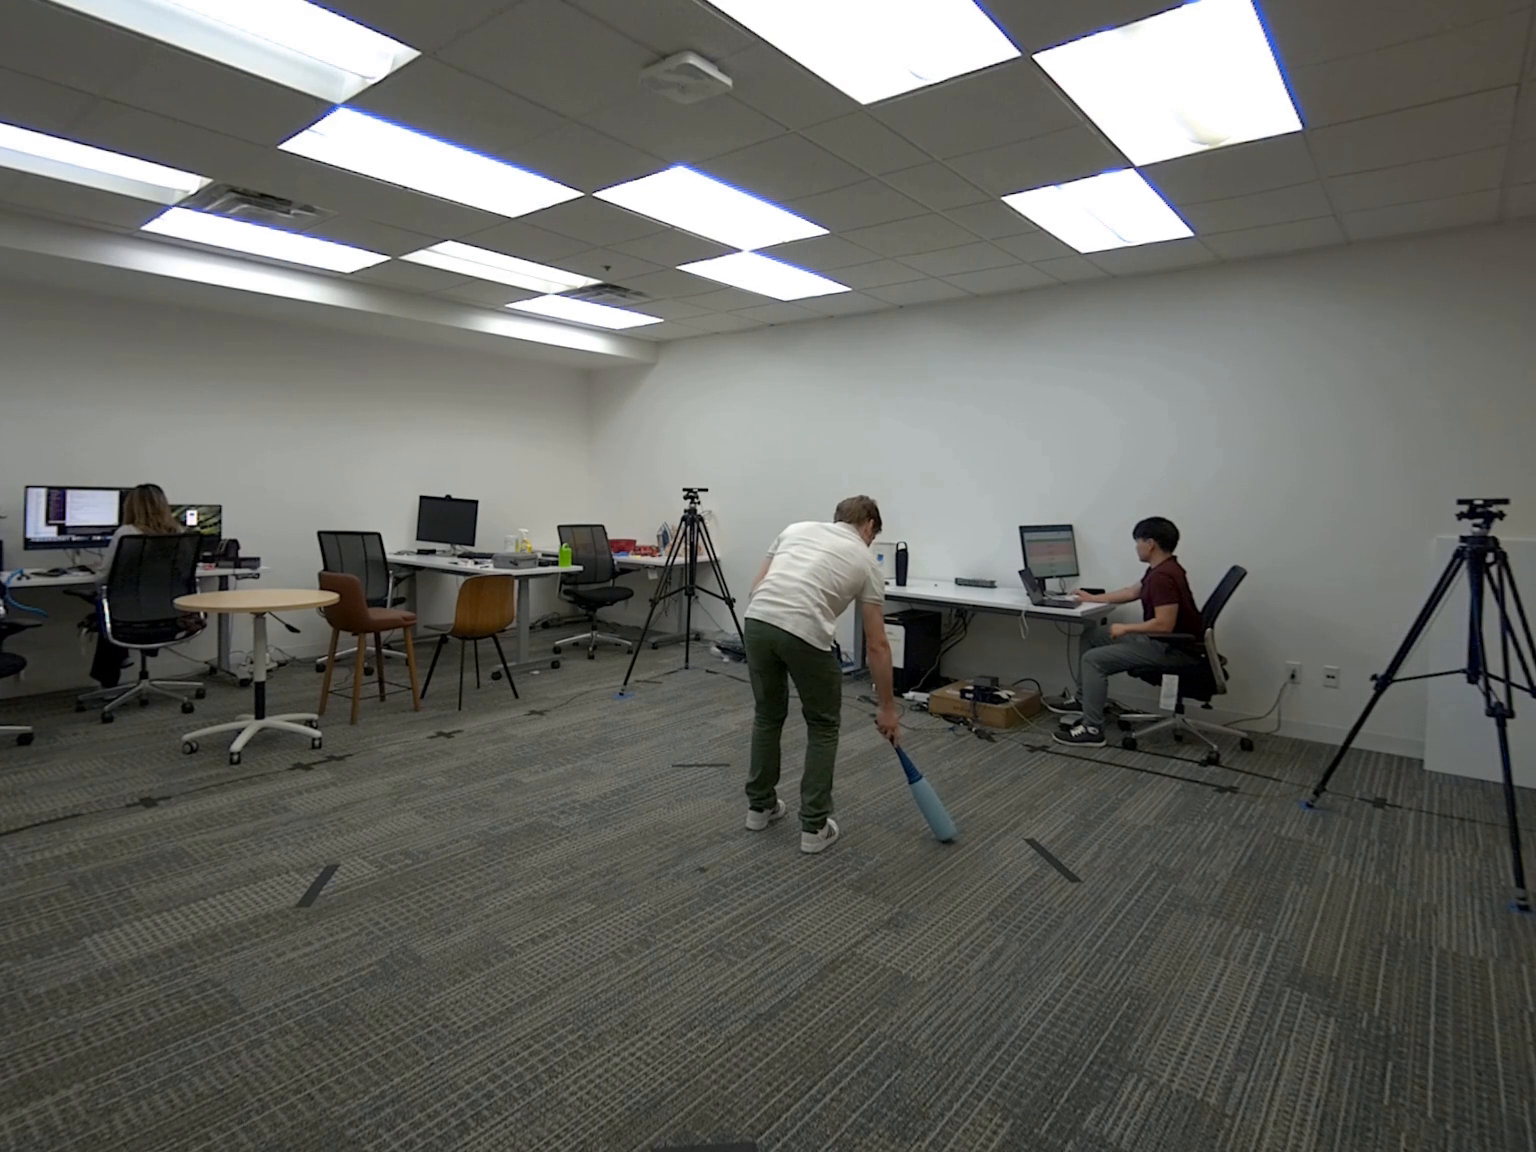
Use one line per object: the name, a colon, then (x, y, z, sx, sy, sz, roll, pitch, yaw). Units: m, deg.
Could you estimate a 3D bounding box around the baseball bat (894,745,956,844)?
baseball bat: (0.586, 0.818, 3.458, 0.089, 0.549, 0.088, -30, -8, -5)
